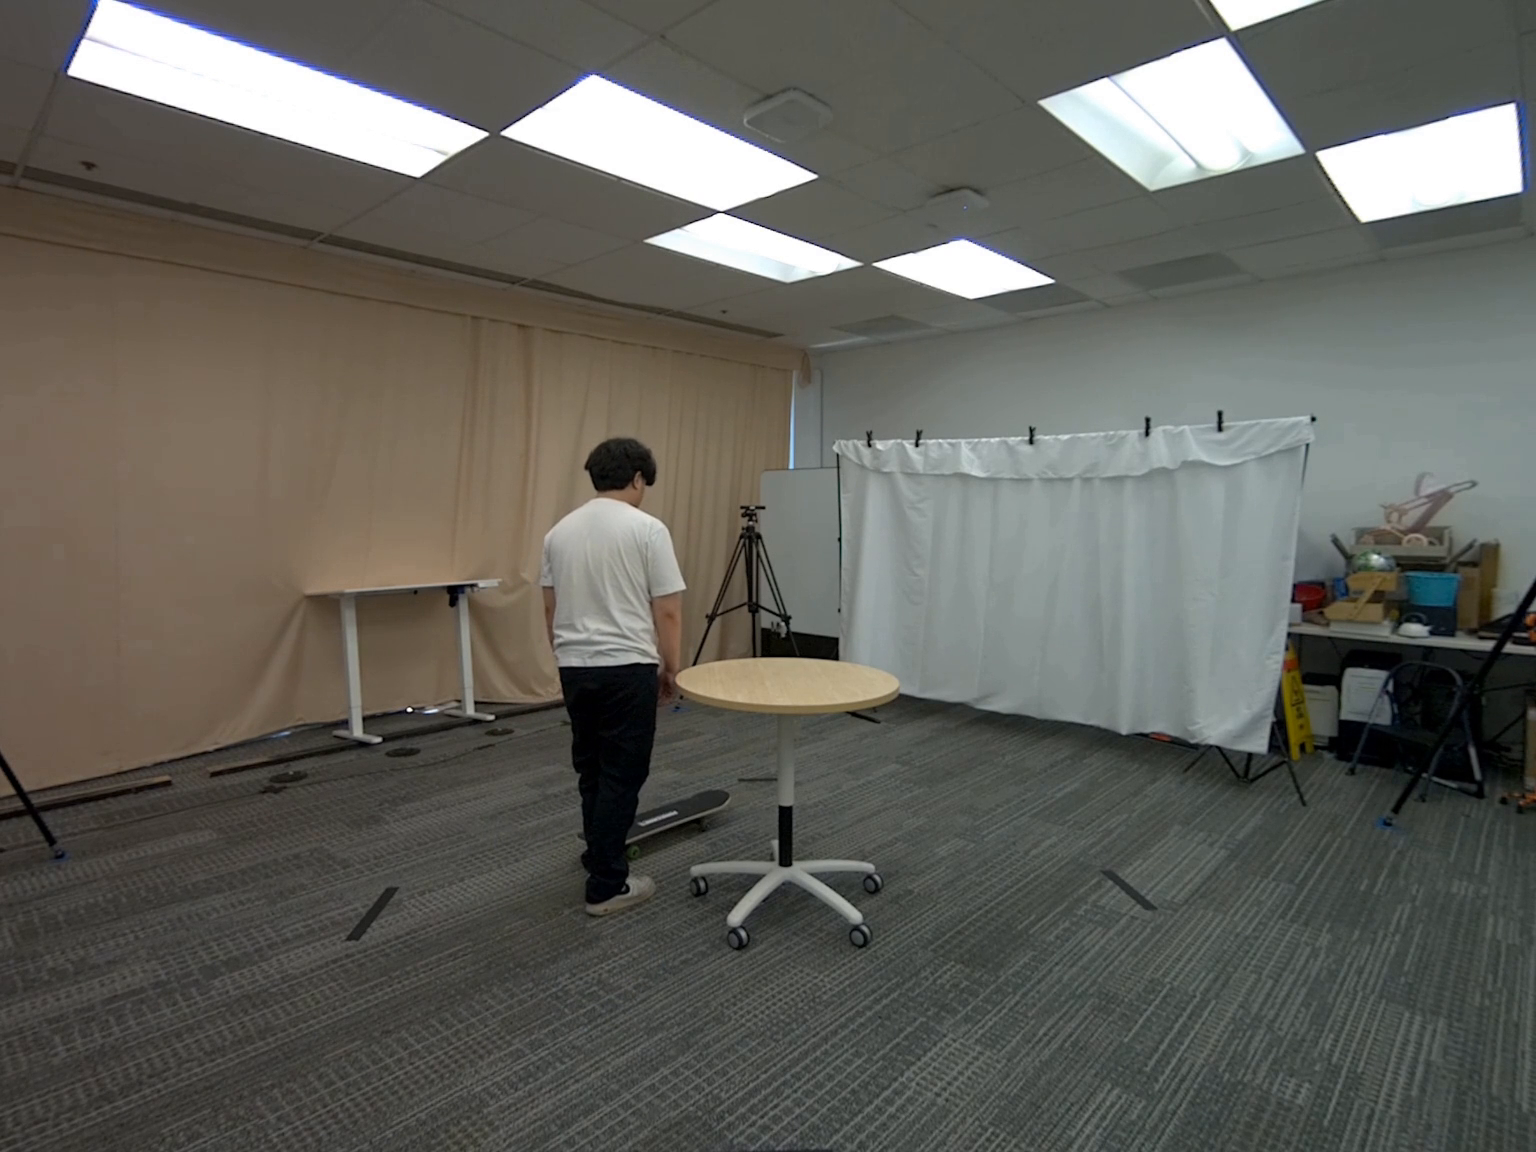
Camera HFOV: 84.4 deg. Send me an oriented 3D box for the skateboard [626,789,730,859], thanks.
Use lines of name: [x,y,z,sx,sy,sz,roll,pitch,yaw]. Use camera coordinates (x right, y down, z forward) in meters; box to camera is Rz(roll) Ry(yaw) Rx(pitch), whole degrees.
skateboard: [-0.469,1.052,3.530,0.200,0.110,0.761,3,6,44]
